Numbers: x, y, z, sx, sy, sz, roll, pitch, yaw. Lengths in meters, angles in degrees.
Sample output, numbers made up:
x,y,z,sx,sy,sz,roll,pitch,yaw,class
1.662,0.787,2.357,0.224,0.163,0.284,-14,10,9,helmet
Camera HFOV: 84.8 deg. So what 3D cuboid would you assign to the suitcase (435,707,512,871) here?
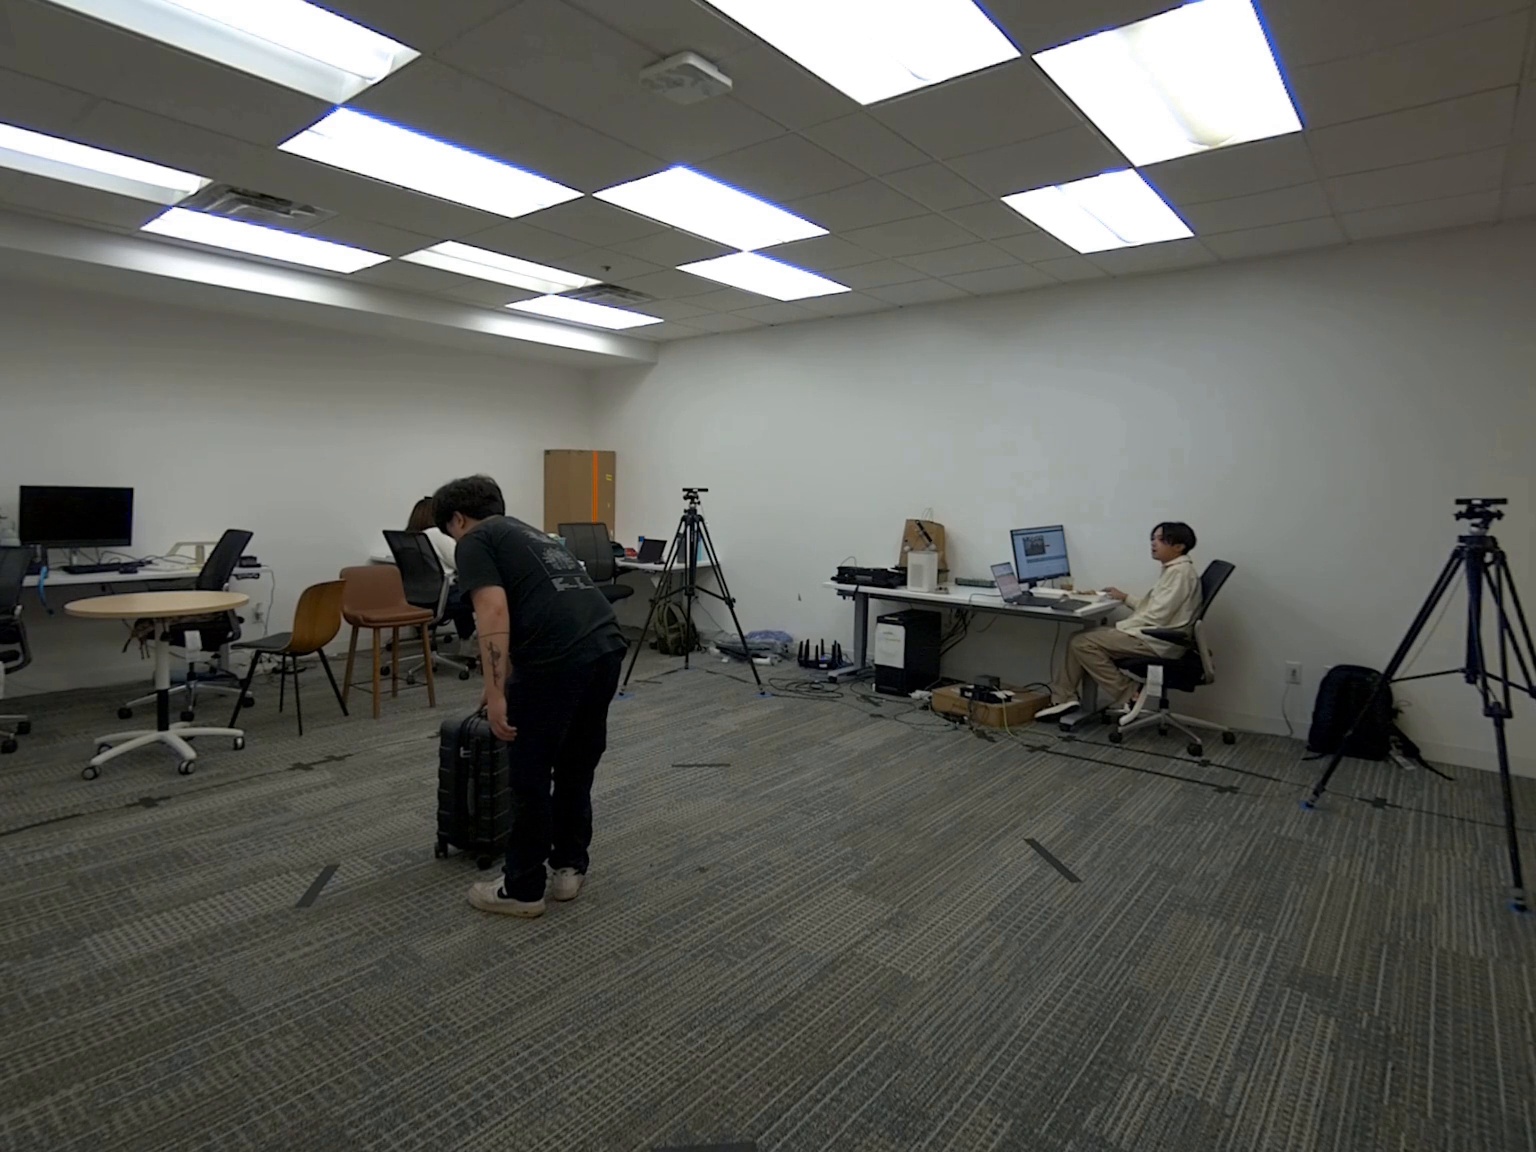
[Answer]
x,y,z,sx,sy,sz,roll,pitch,yaw,class
-1.086,0.771,3.253,0.253,0.548,0.369,1,3,17,suitcase
